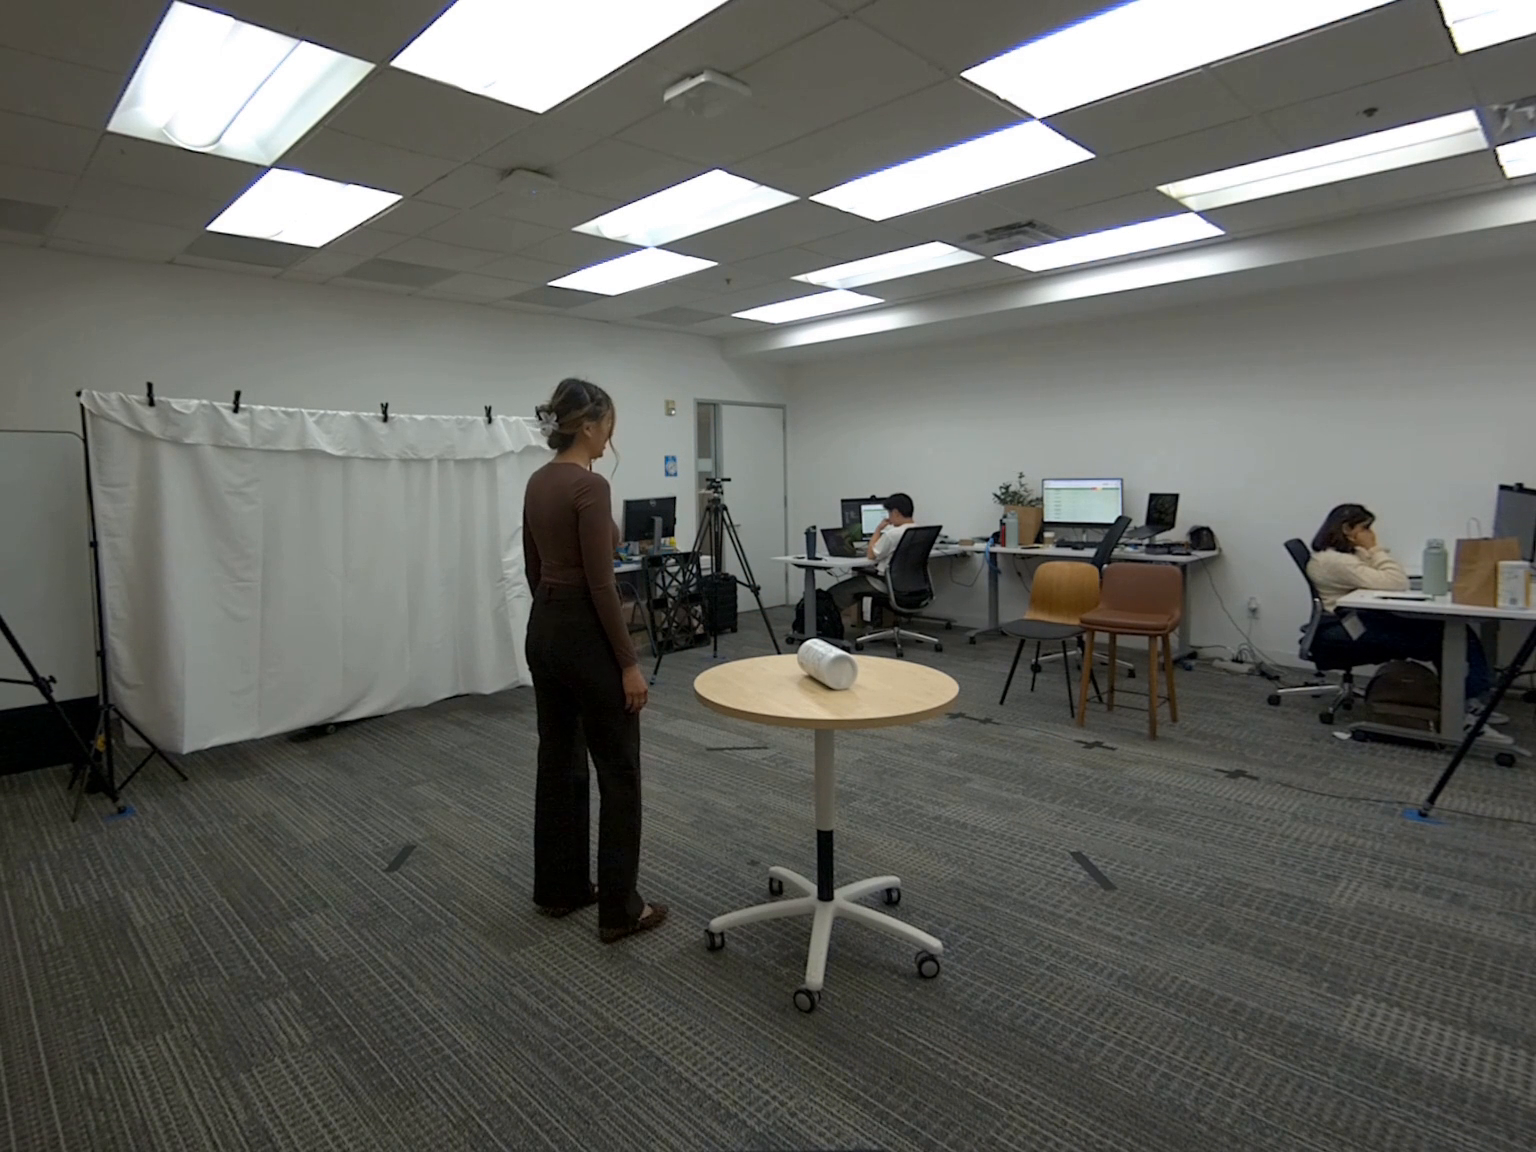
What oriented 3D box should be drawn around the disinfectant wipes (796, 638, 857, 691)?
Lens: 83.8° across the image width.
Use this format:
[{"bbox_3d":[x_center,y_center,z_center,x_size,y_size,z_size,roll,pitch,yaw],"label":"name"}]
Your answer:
[{"bbox_3d":[0.164,0.259,2.499,0.116,0.117,0.221,-2,8,-14],"label":"disinfectant wipes"}]
